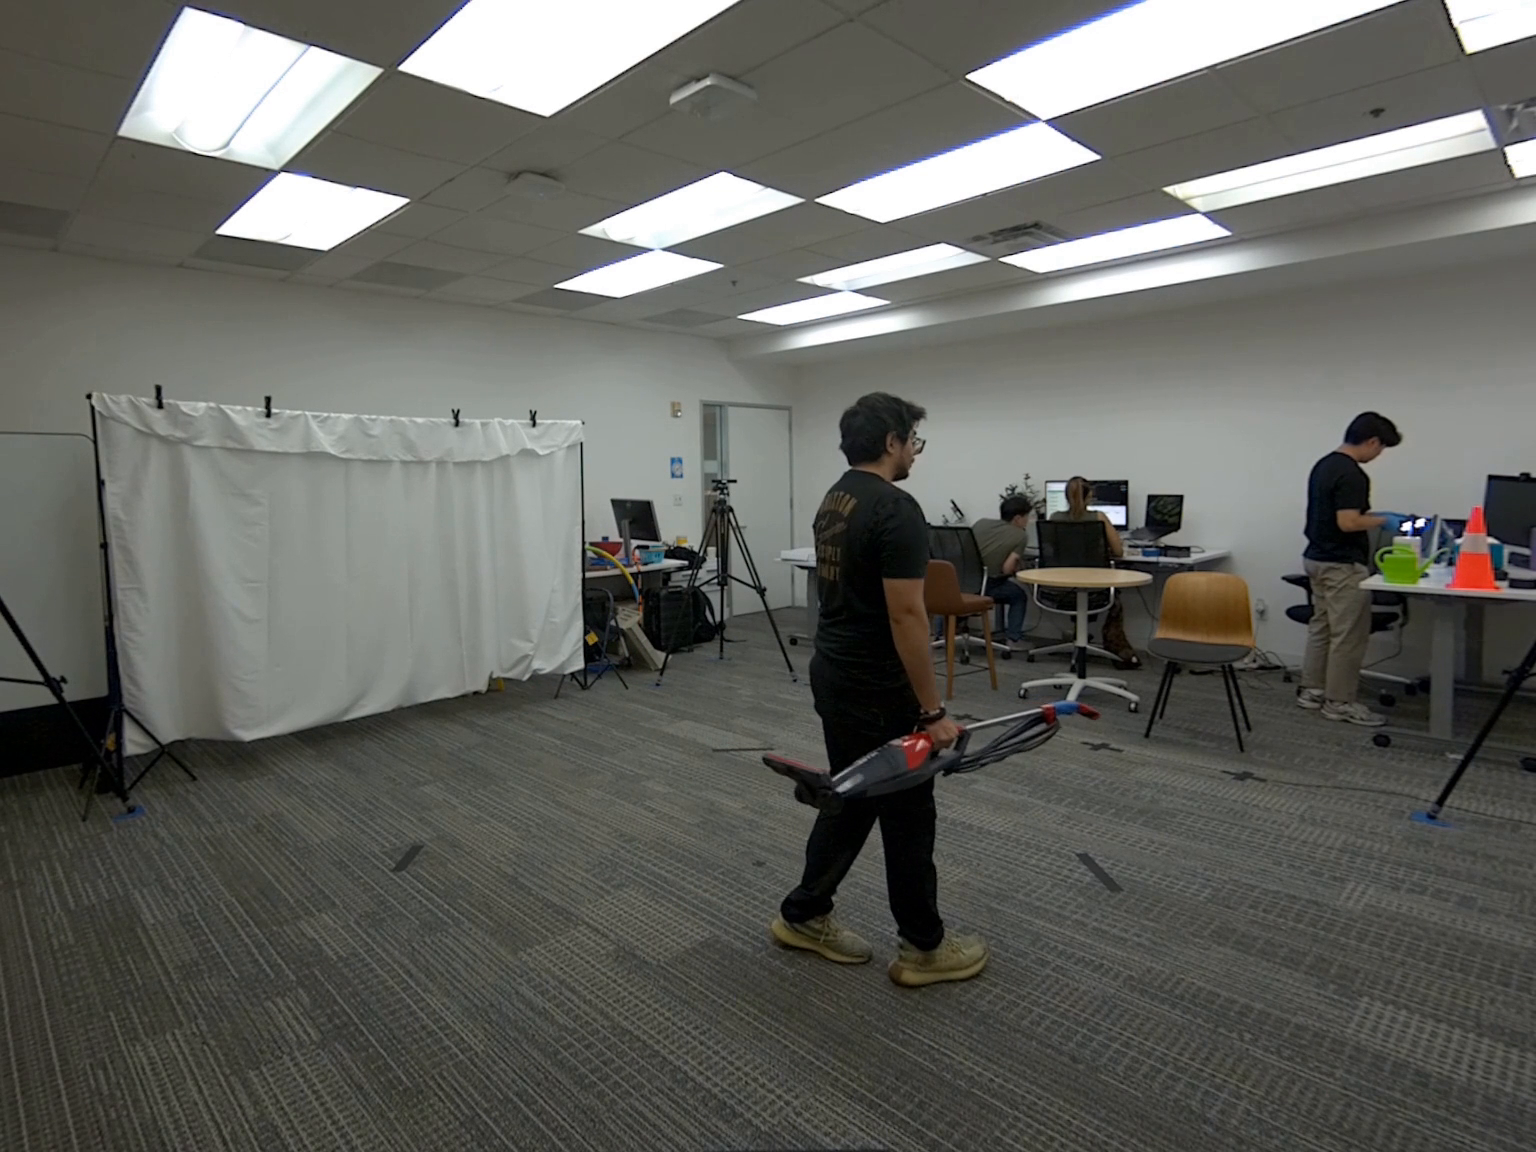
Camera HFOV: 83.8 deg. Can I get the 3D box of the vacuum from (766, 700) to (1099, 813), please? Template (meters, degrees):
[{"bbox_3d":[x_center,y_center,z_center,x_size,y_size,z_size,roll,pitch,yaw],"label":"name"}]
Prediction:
[{"bbox_3d":[0.533,0.457,2.269,1.026,0.144,0.258,-6,1,-30],"label":"vacuum"}]
